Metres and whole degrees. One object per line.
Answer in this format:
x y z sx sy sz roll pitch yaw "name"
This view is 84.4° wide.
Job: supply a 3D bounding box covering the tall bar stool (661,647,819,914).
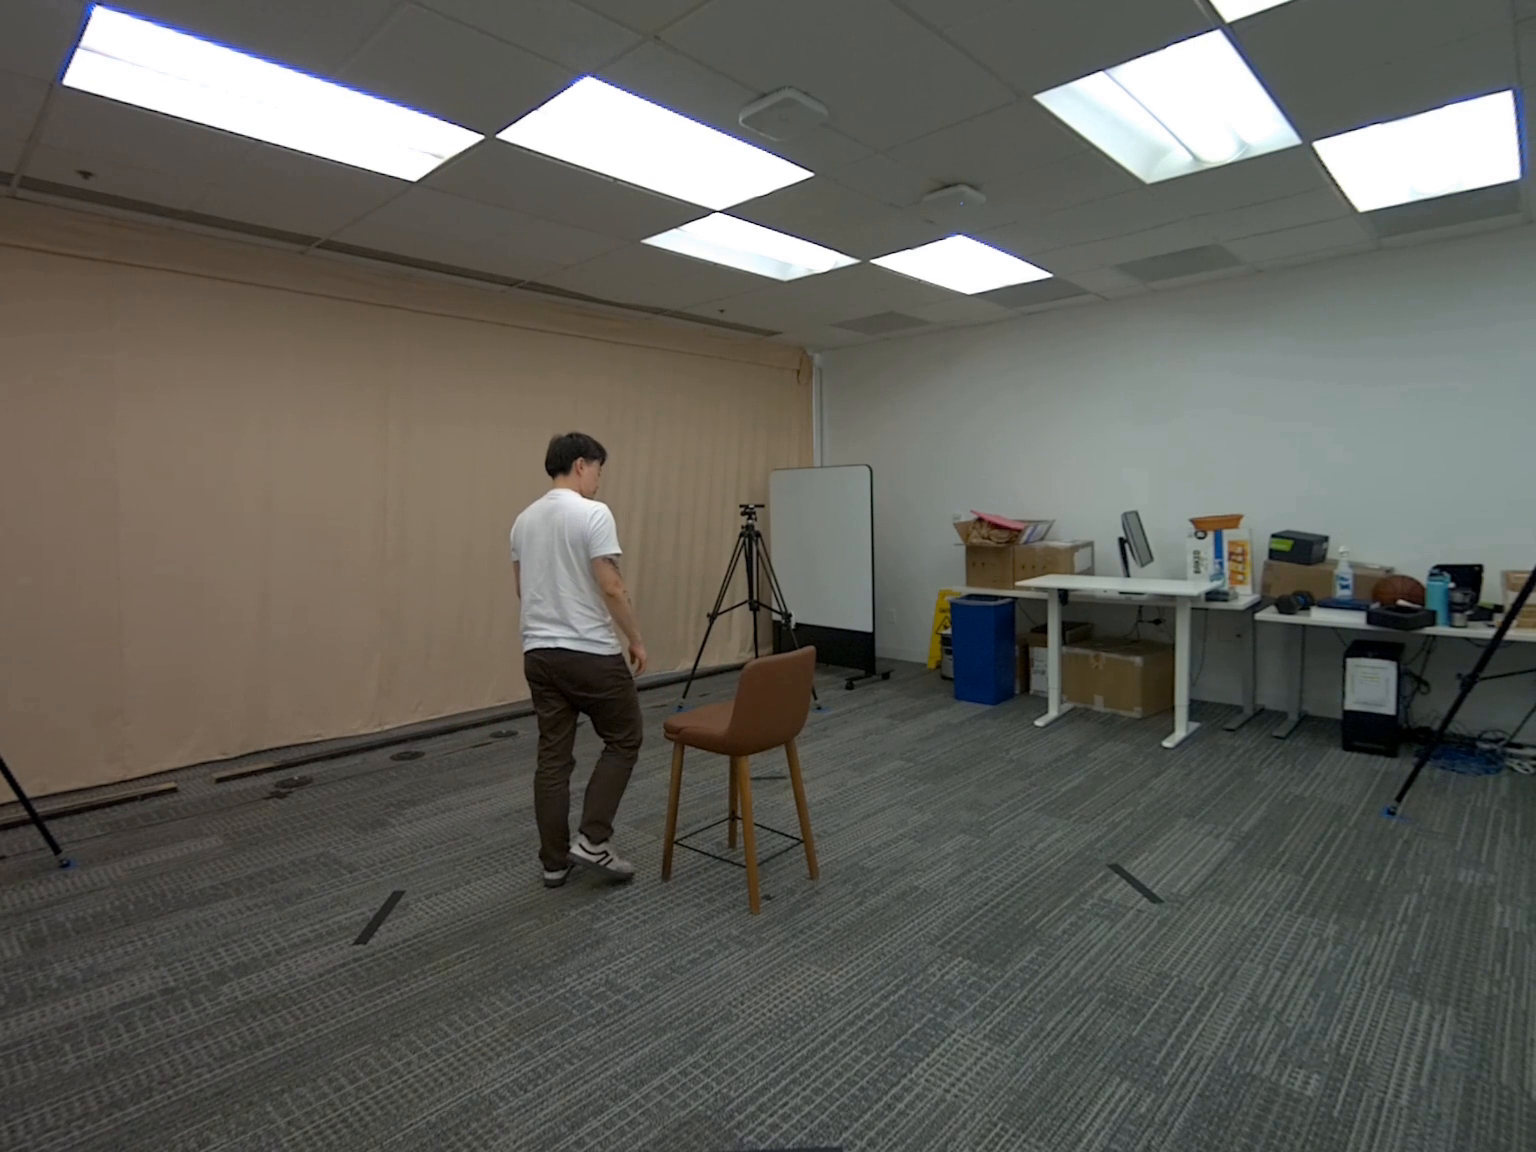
-0.106 0.694 3.116 0.483 0.887 0.443 4 6 40 "tall bar stool"
